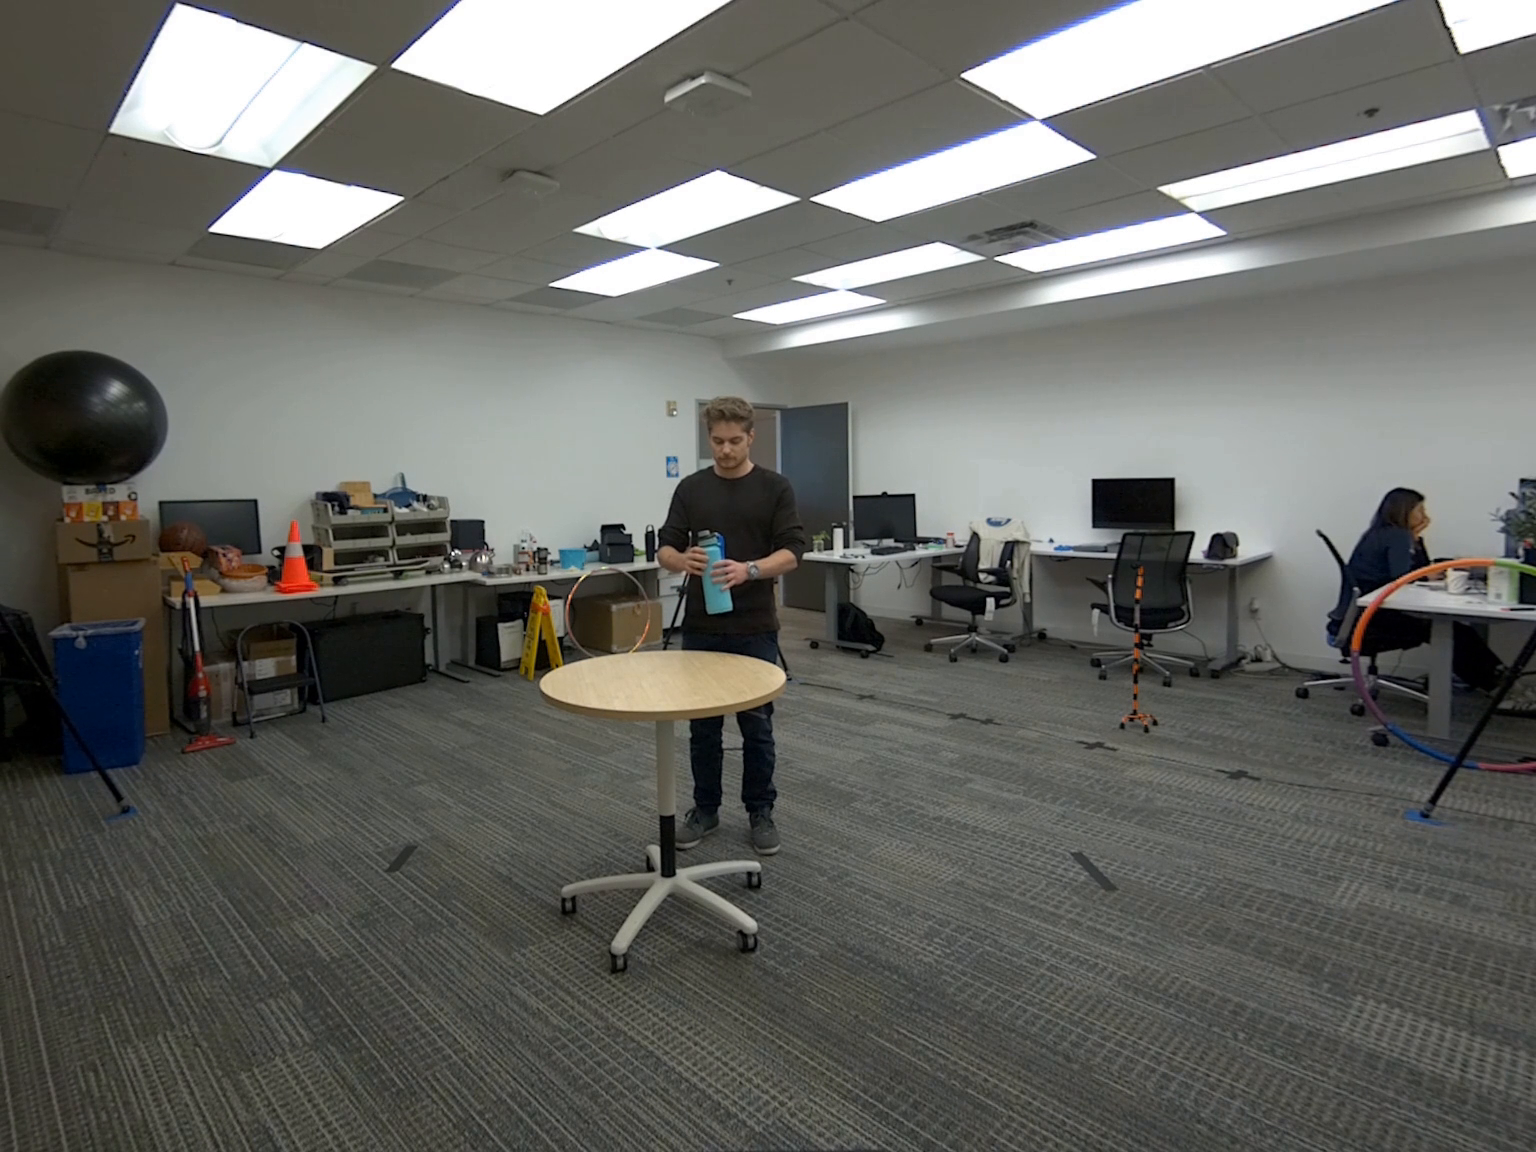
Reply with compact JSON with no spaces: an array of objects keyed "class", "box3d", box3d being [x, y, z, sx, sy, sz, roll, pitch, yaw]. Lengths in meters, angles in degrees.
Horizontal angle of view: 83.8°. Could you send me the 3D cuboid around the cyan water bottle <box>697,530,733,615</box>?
[{"class":"cyan water bottle","box3d":[-0.184,-0.011,2.959,0.092,0.283,0.092,-9,1,-1]}]
